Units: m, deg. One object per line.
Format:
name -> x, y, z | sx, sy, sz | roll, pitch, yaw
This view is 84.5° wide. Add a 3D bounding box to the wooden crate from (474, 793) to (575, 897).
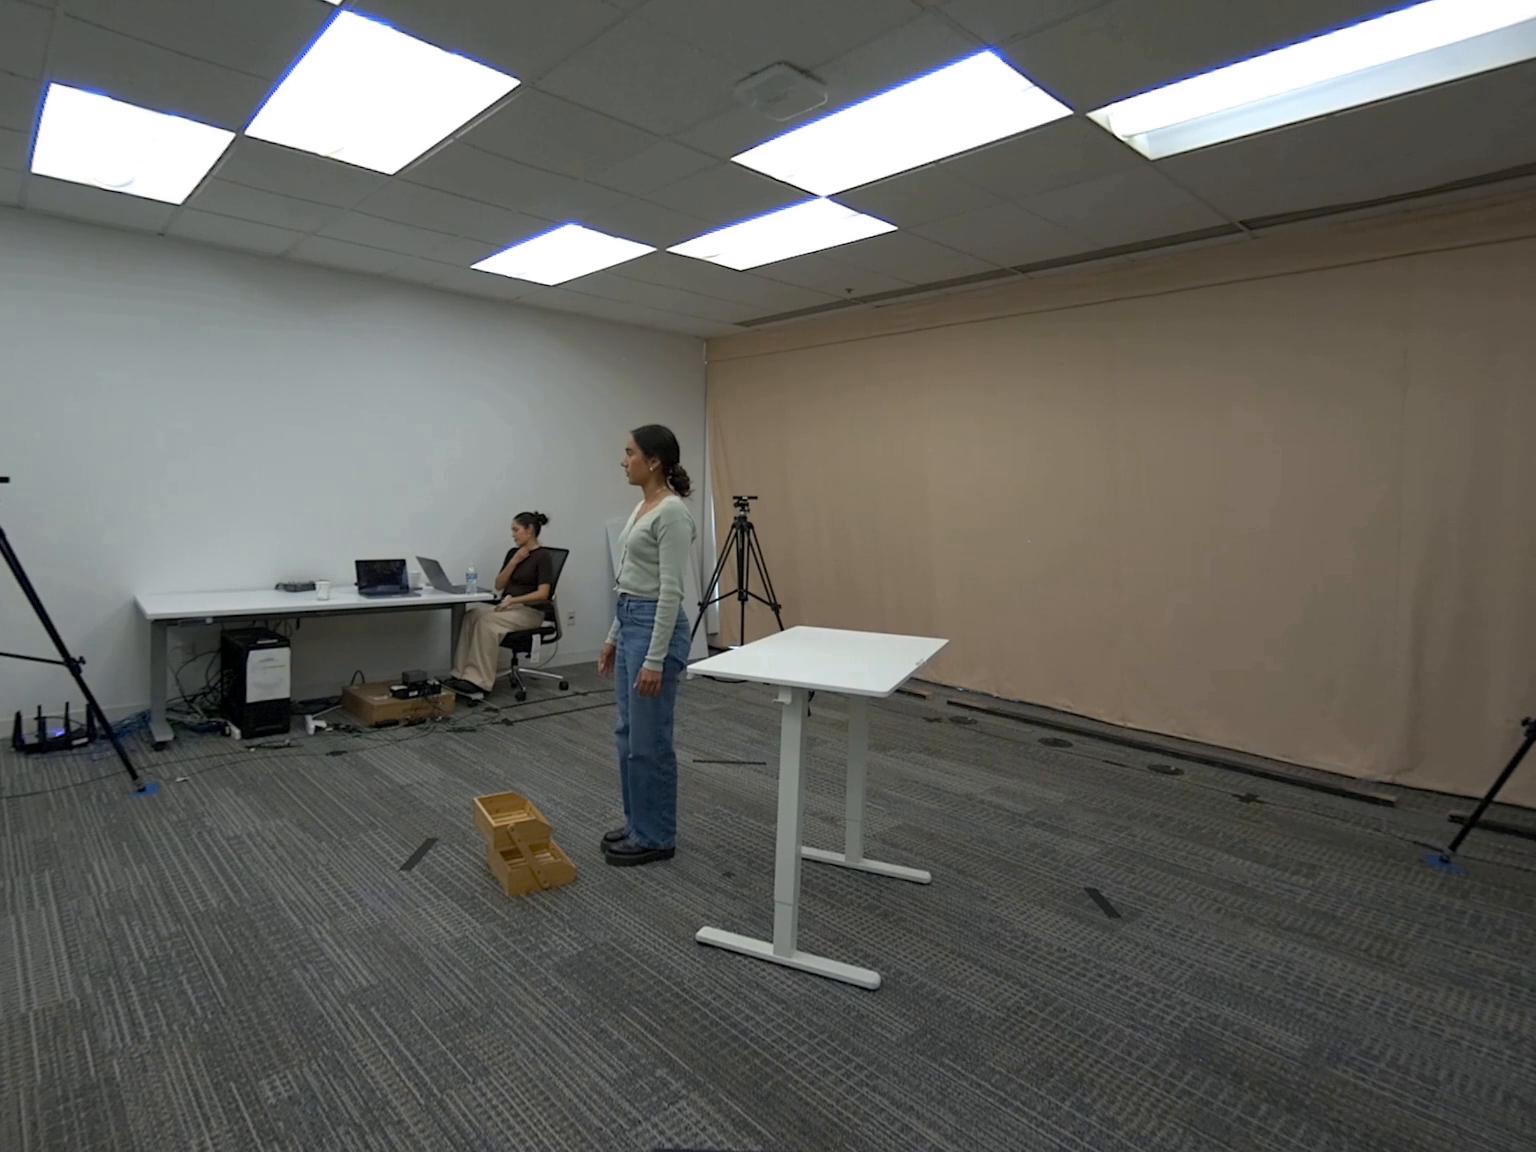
wooden crate -> -0.897, 0.956, 3.062 | 0.296, 0.272, 0.332 | -2, 6, -32
